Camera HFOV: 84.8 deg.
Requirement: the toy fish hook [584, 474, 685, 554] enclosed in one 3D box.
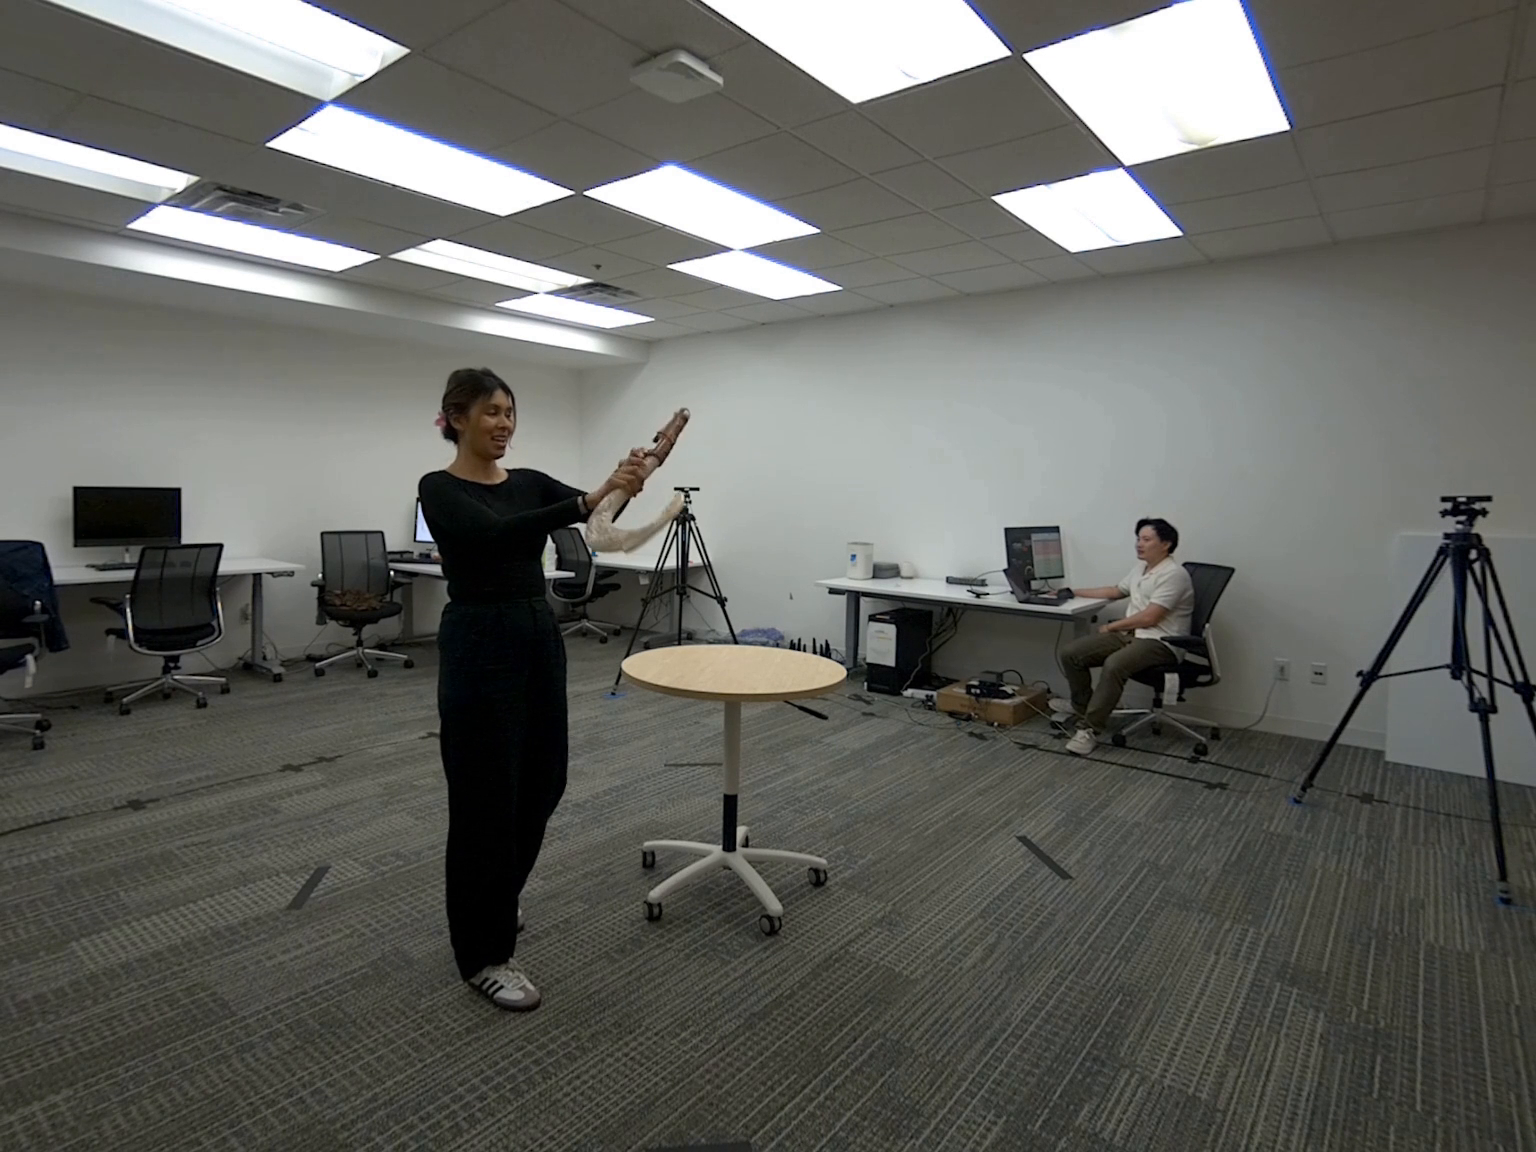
[{"bbox_3d":[-0.259,-0.236,1.983,0.231,0.512,0.046,3,-41,28],"label":"toy fish hook"}]
